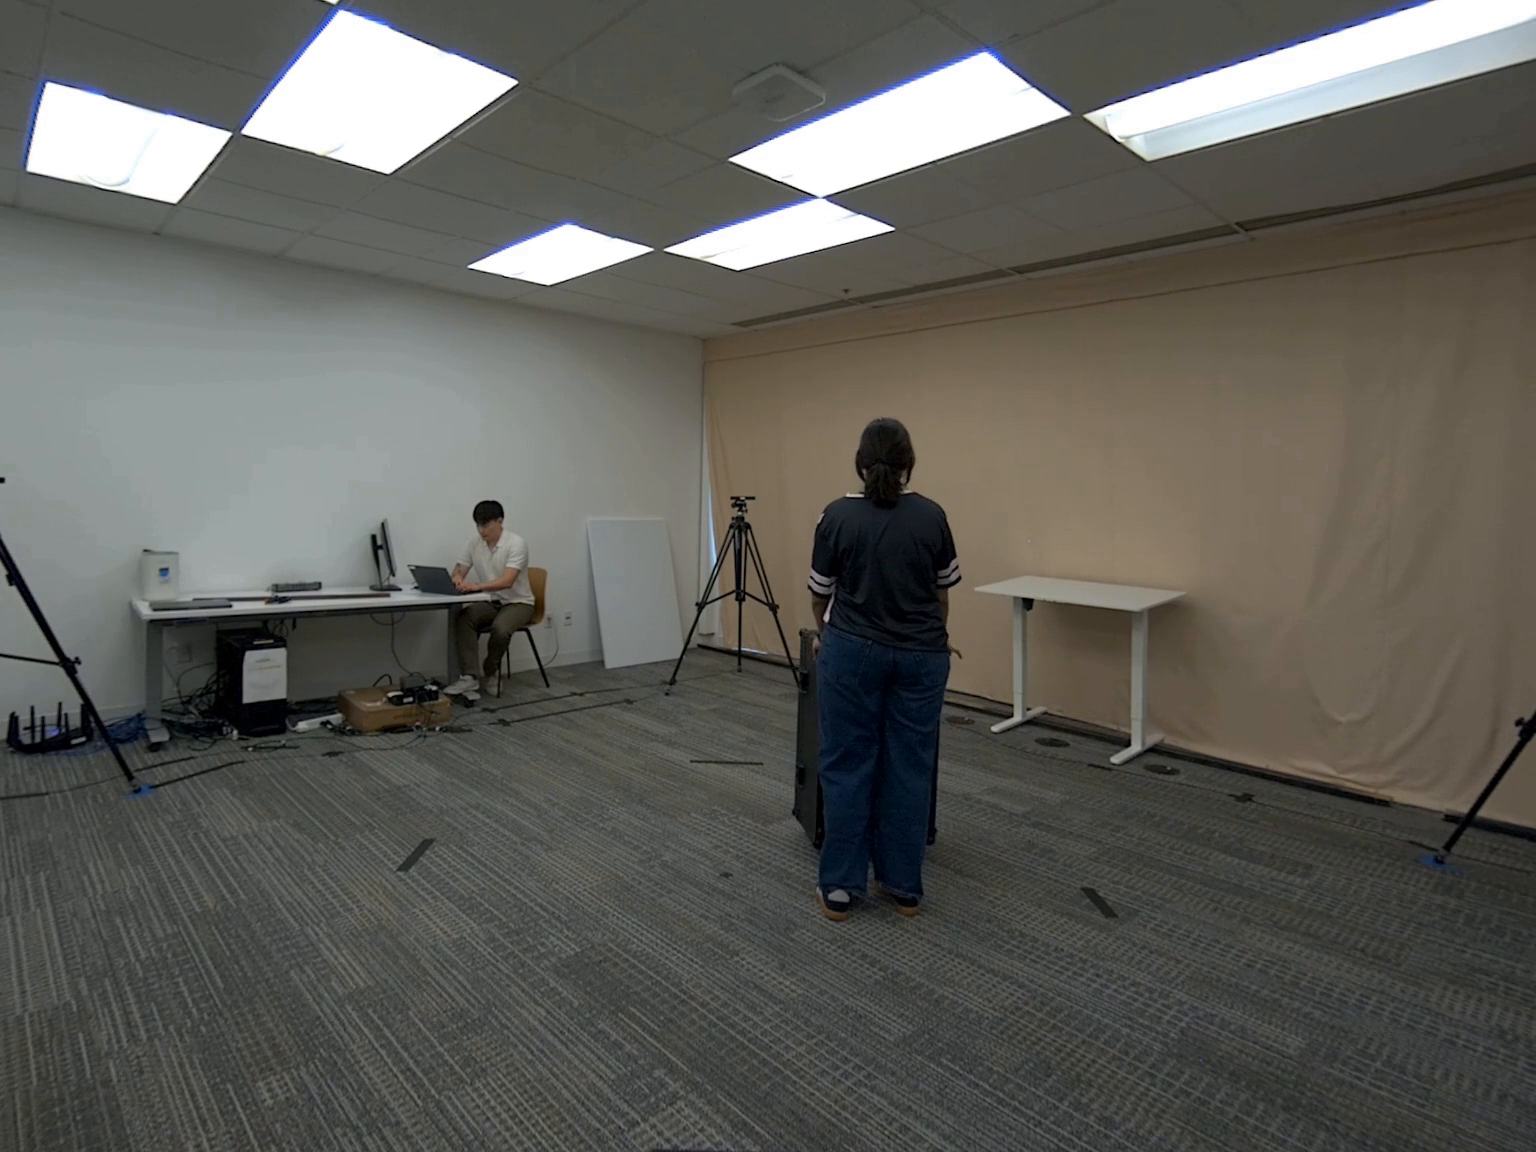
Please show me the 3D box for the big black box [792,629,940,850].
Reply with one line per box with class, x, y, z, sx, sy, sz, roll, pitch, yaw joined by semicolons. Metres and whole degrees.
big black box;0.392;0.675;3.379;0.519;0.867;0.389;1;3;-11
